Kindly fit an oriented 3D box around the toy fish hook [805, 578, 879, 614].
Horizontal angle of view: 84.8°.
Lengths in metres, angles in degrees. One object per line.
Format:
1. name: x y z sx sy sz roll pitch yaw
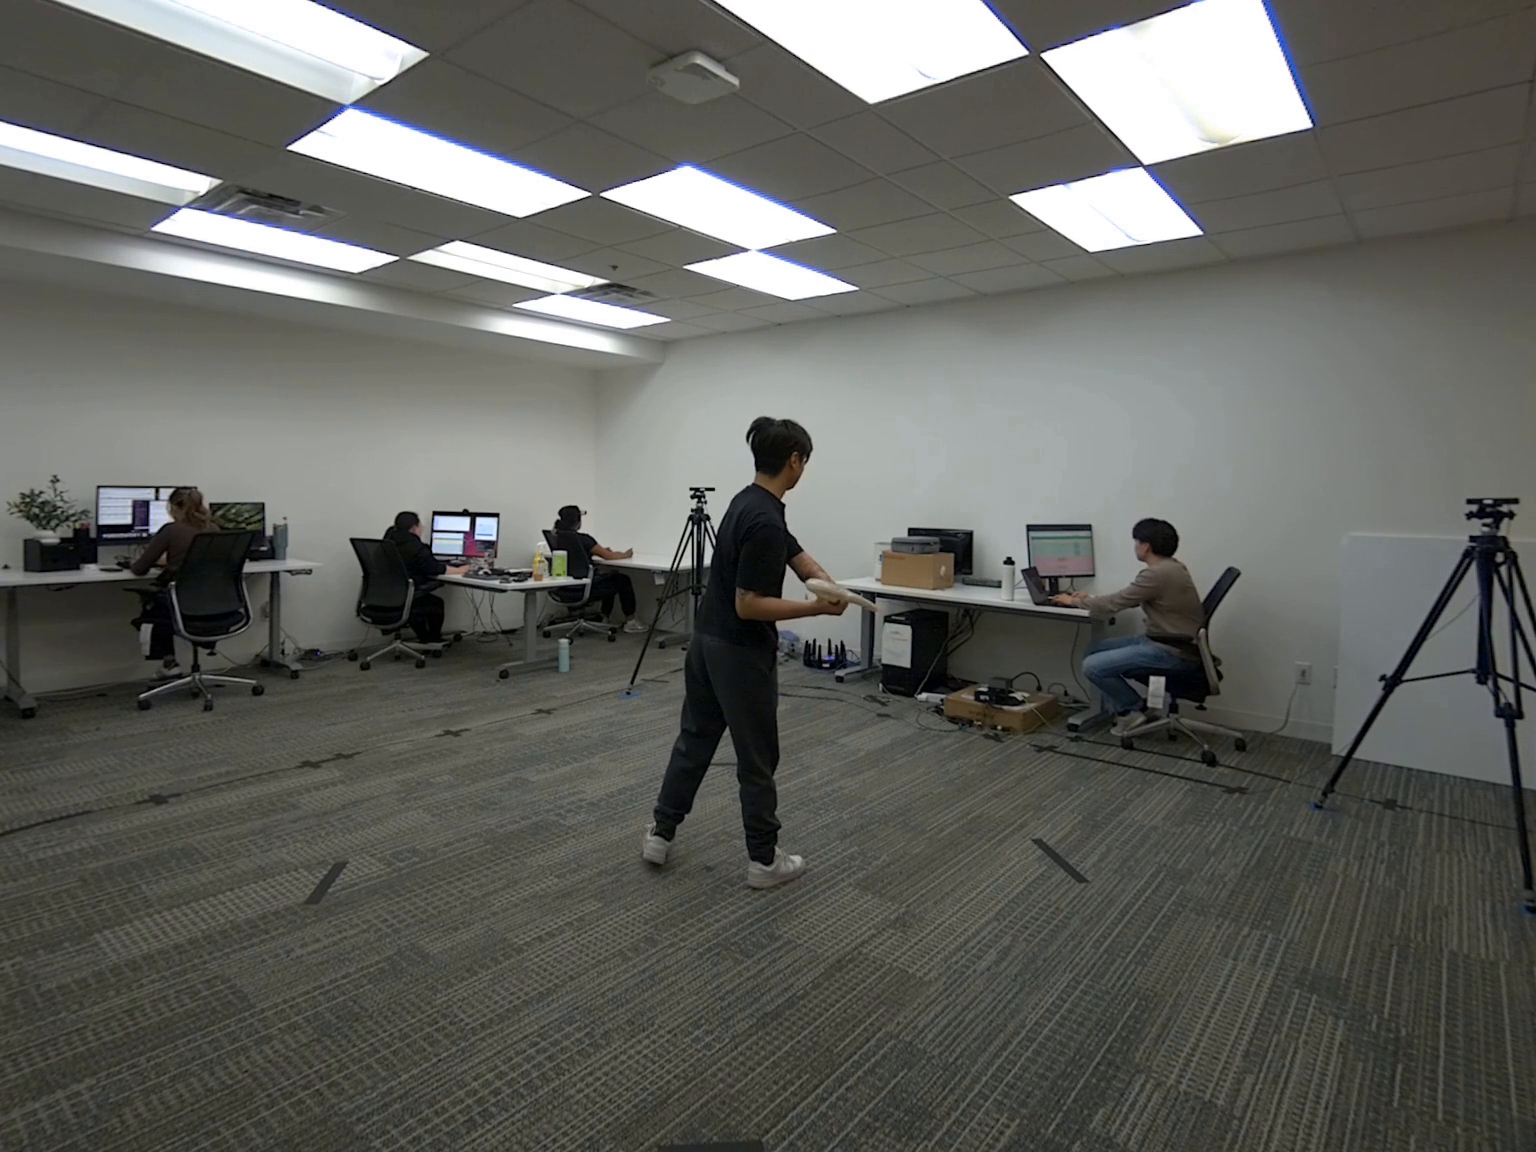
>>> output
1. toy fish hook: 0.246 0.093 2.707 0.228 0.048 0.498 26 -6 9
